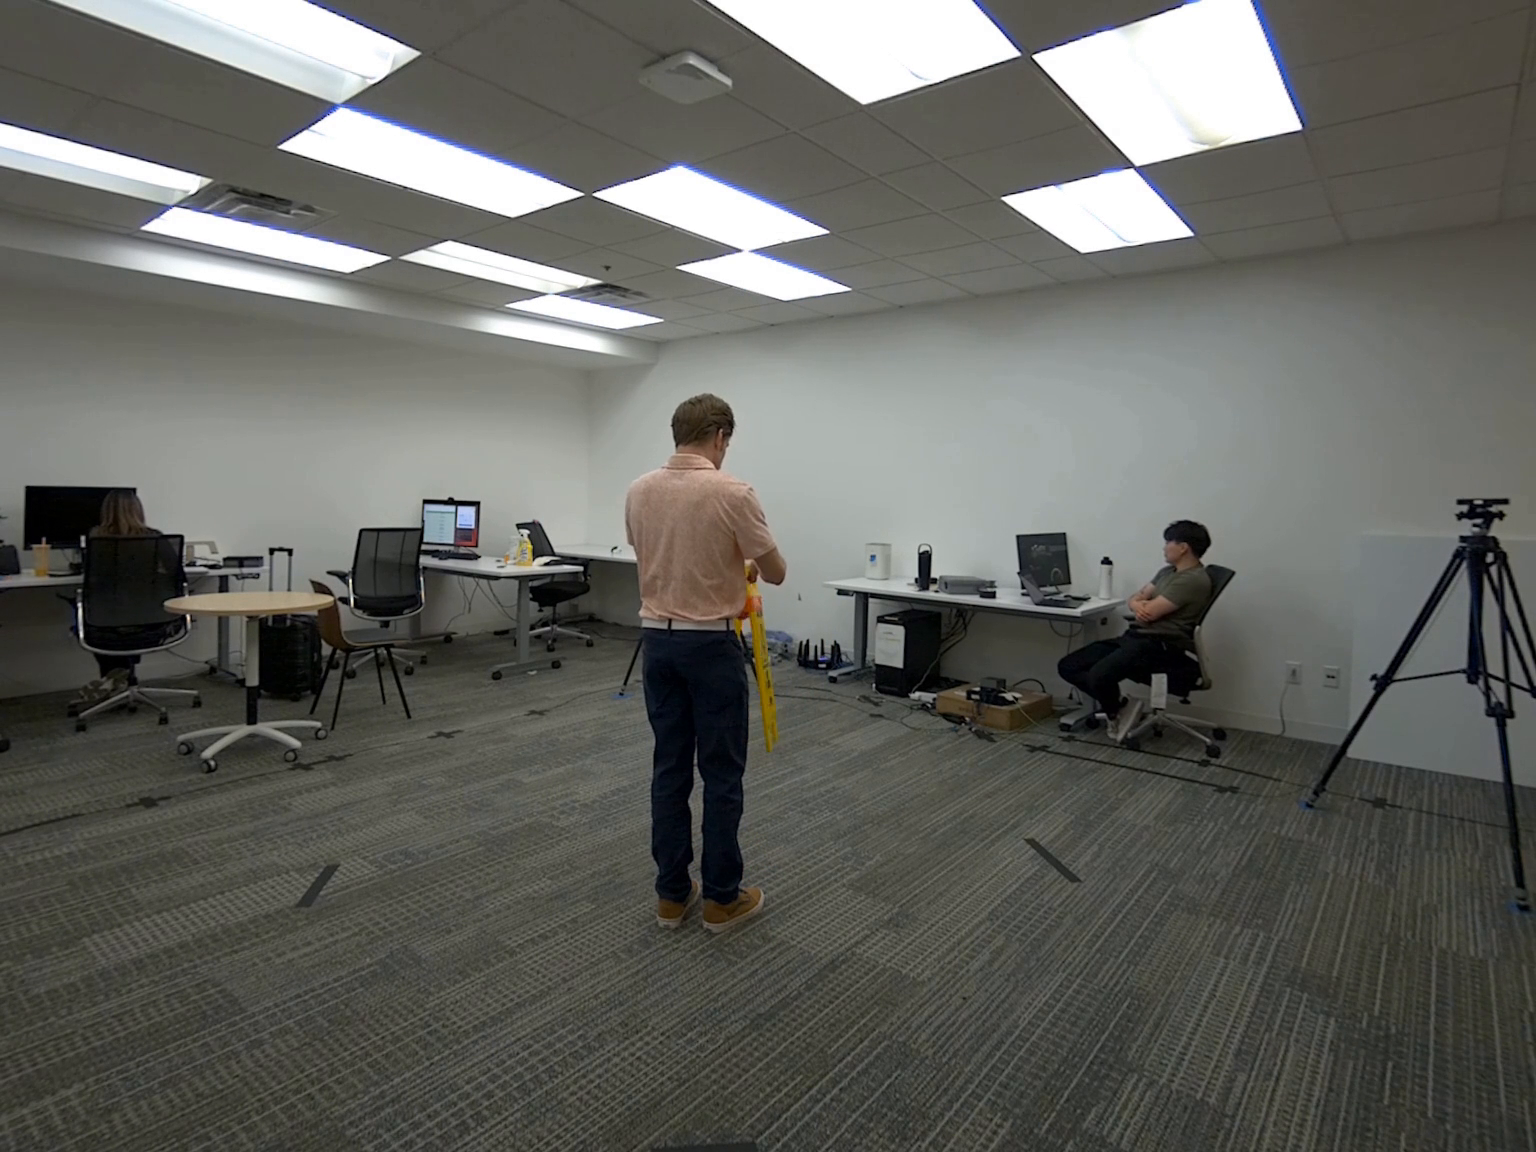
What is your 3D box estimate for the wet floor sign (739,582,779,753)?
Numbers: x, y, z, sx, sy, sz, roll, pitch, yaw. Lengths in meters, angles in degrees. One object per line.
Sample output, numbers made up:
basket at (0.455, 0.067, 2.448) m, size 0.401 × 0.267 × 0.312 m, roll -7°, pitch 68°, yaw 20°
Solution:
wet floor sign at (-0.090, 0.274, 3.098) m, size 0.292 × 0.646 × 0.280 m, roll 2°, pitch 0°, yaw 8°
